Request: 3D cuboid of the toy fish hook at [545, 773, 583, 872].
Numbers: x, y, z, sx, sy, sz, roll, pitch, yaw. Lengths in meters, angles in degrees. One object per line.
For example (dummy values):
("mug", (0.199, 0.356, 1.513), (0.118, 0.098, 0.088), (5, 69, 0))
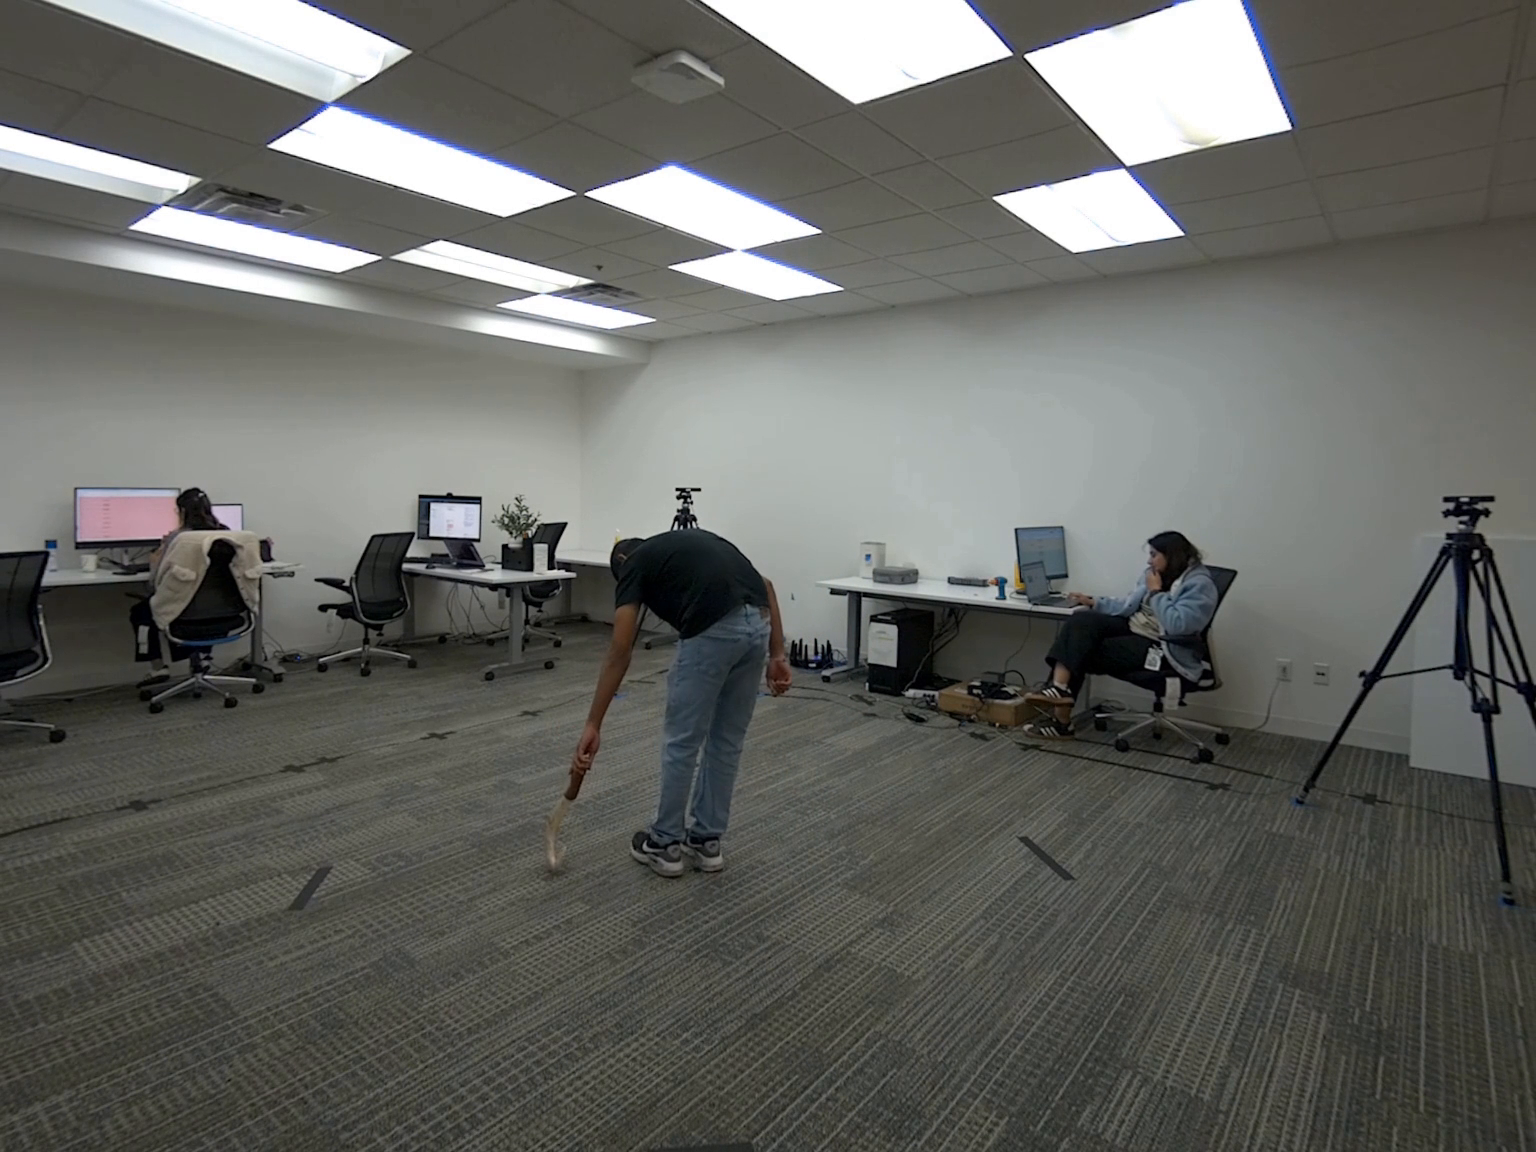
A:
("toy fish hook", (-0.721, 0.840, 2.996), (0.047, 0.500, 0.233), (8, 34, -27))
